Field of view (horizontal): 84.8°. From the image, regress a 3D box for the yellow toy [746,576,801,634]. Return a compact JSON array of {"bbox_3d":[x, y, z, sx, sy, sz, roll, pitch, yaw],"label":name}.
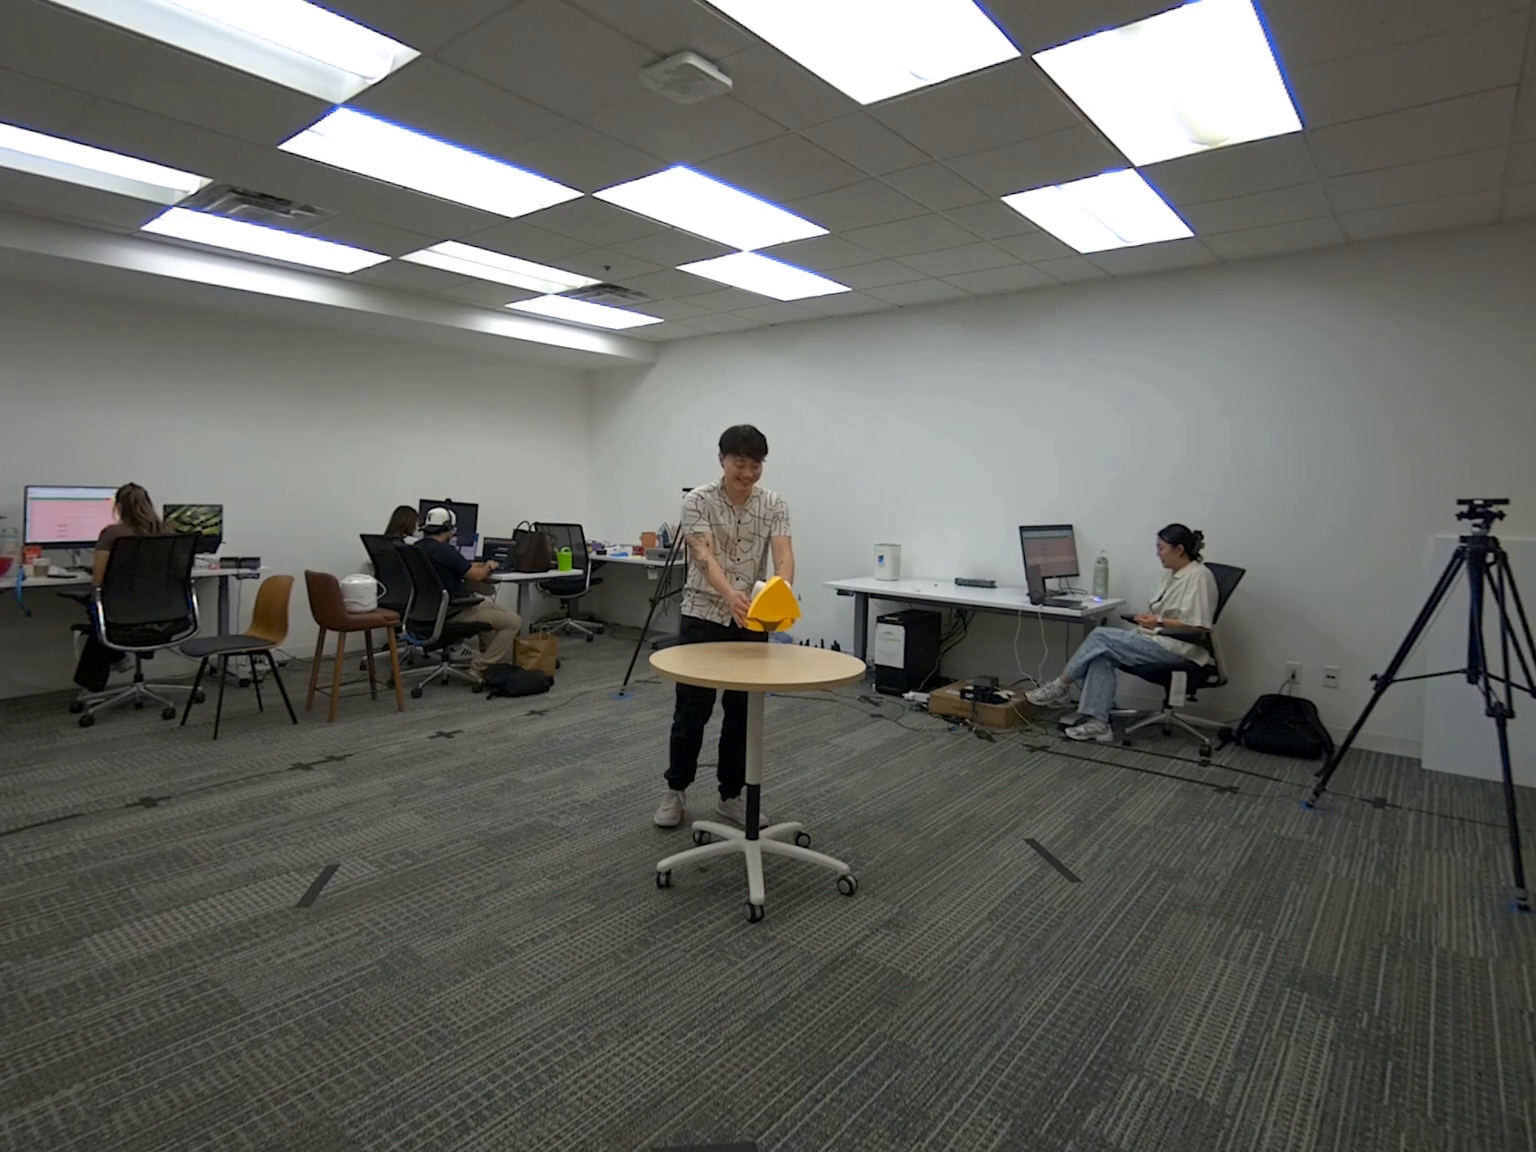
[{"bbox_3d":[-0.011,0.060,3.100,0.202,0.226,0.200,-1,33,-15],"label":"yellow toy"}]
